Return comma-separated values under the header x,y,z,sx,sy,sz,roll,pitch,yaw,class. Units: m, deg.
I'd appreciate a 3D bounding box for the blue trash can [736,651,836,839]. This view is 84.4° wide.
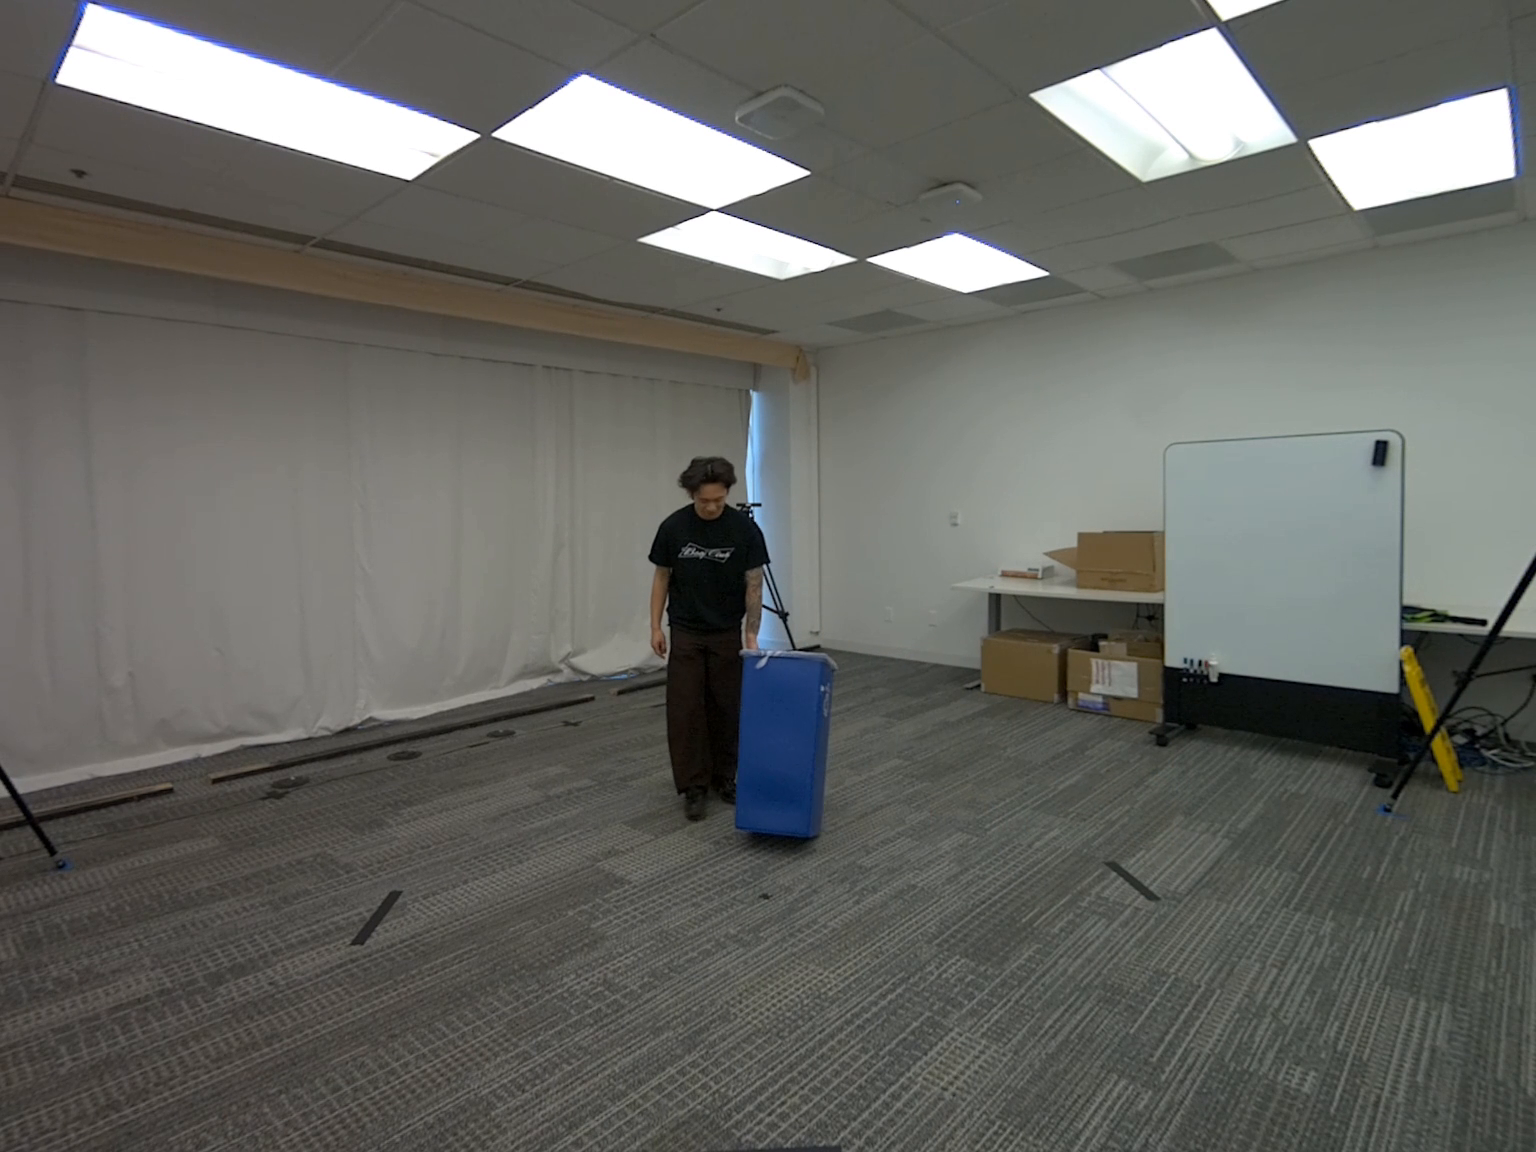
x,y,z,sx,sy,sz,roll,pitch,yaw,class
0.072,0.704,3.538,0.384,0.719,0.365,1,-14,15,blue trash can
